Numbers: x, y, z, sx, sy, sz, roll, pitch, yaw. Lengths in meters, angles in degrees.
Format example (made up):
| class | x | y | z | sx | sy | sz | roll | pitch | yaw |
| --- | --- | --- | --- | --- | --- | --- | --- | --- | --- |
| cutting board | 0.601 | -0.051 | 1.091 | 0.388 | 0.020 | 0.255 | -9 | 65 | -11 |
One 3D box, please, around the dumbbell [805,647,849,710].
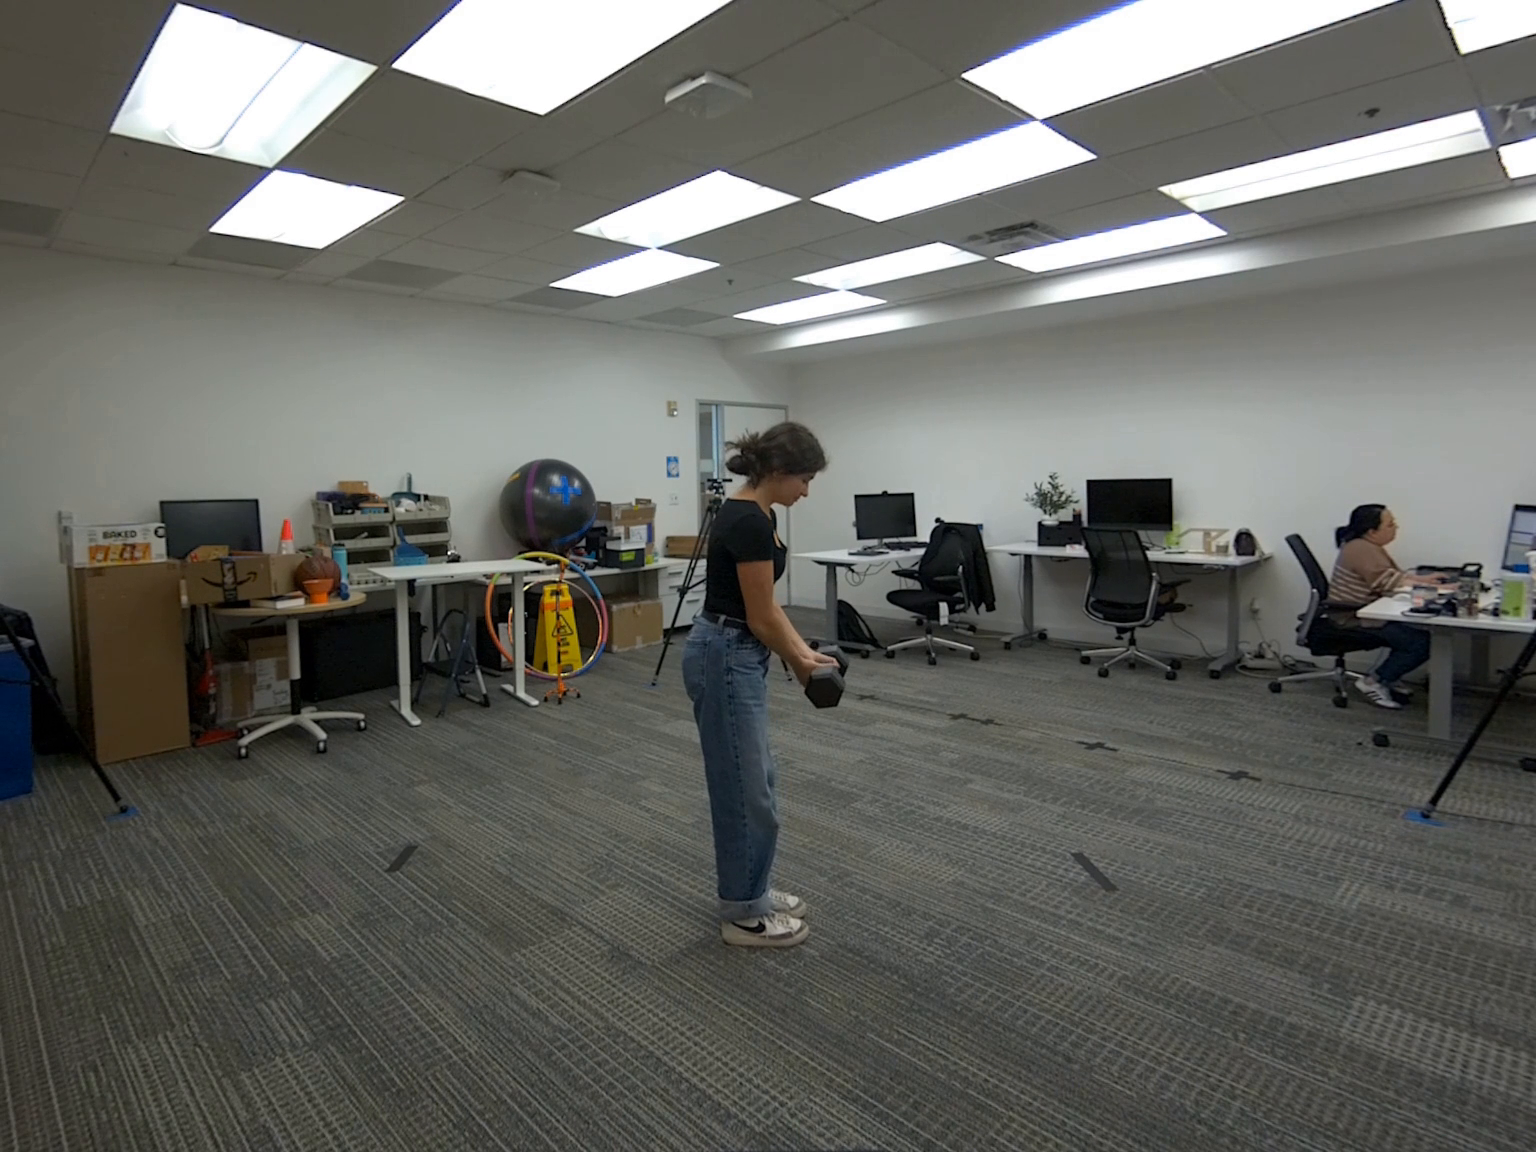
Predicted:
| class | x | y | z | sx | sy | sz | roll | pitch | yaw |
| --- | --- | --- | --- | --- | --- | --- | --- | --- | --- |
| dumbbell | 0.187 | 0.303 | 2.647 | 0.109 | 0.123 | 0.293 | -40 | 3 | 13 |
